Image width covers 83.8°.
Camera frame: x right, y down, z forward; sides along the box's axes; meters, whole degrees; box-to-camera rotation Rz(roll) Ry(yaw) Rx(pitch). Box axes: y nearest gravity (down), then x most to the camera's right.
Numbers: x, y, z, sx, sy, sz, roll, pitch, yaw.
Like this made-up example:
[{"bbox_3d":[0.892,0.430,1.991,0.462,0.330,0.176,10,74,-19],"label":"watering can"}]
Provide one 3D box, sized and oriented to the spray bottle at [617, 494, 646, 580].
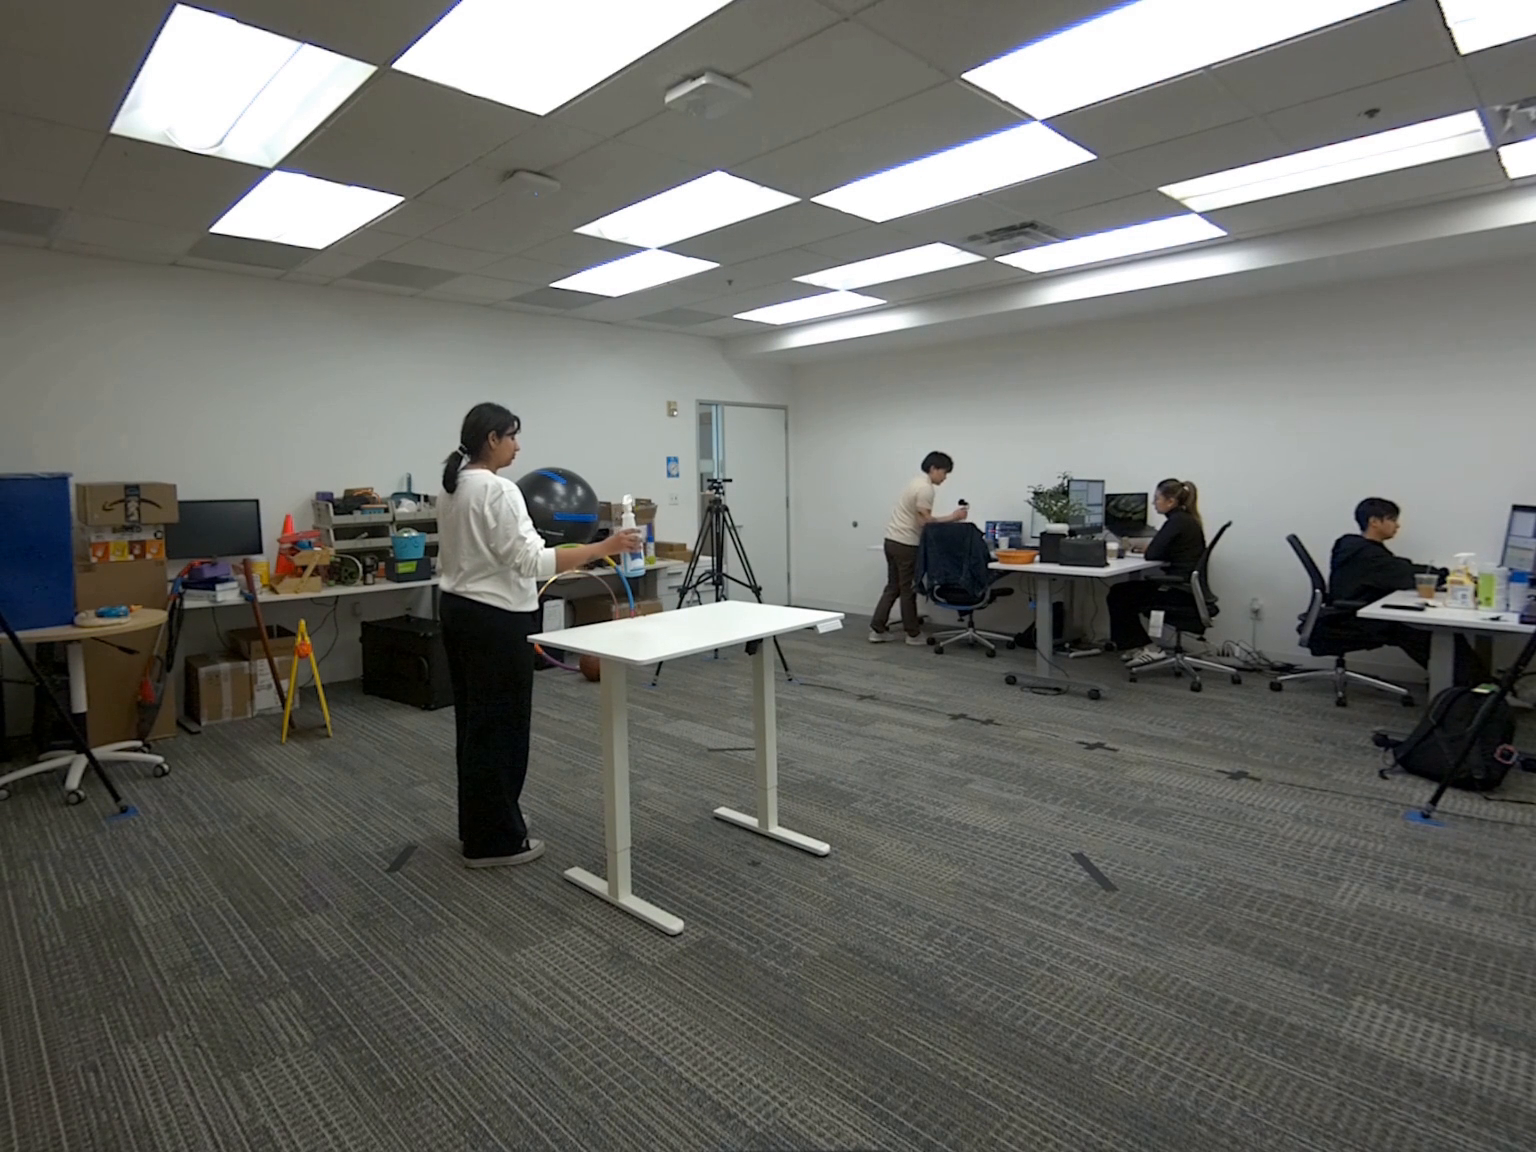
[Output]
[{"bbox_3d":[-0.510,-0.146,3.148,0.089,0.296,0.088,-1,6,32],"label":"spray bottle"}]
